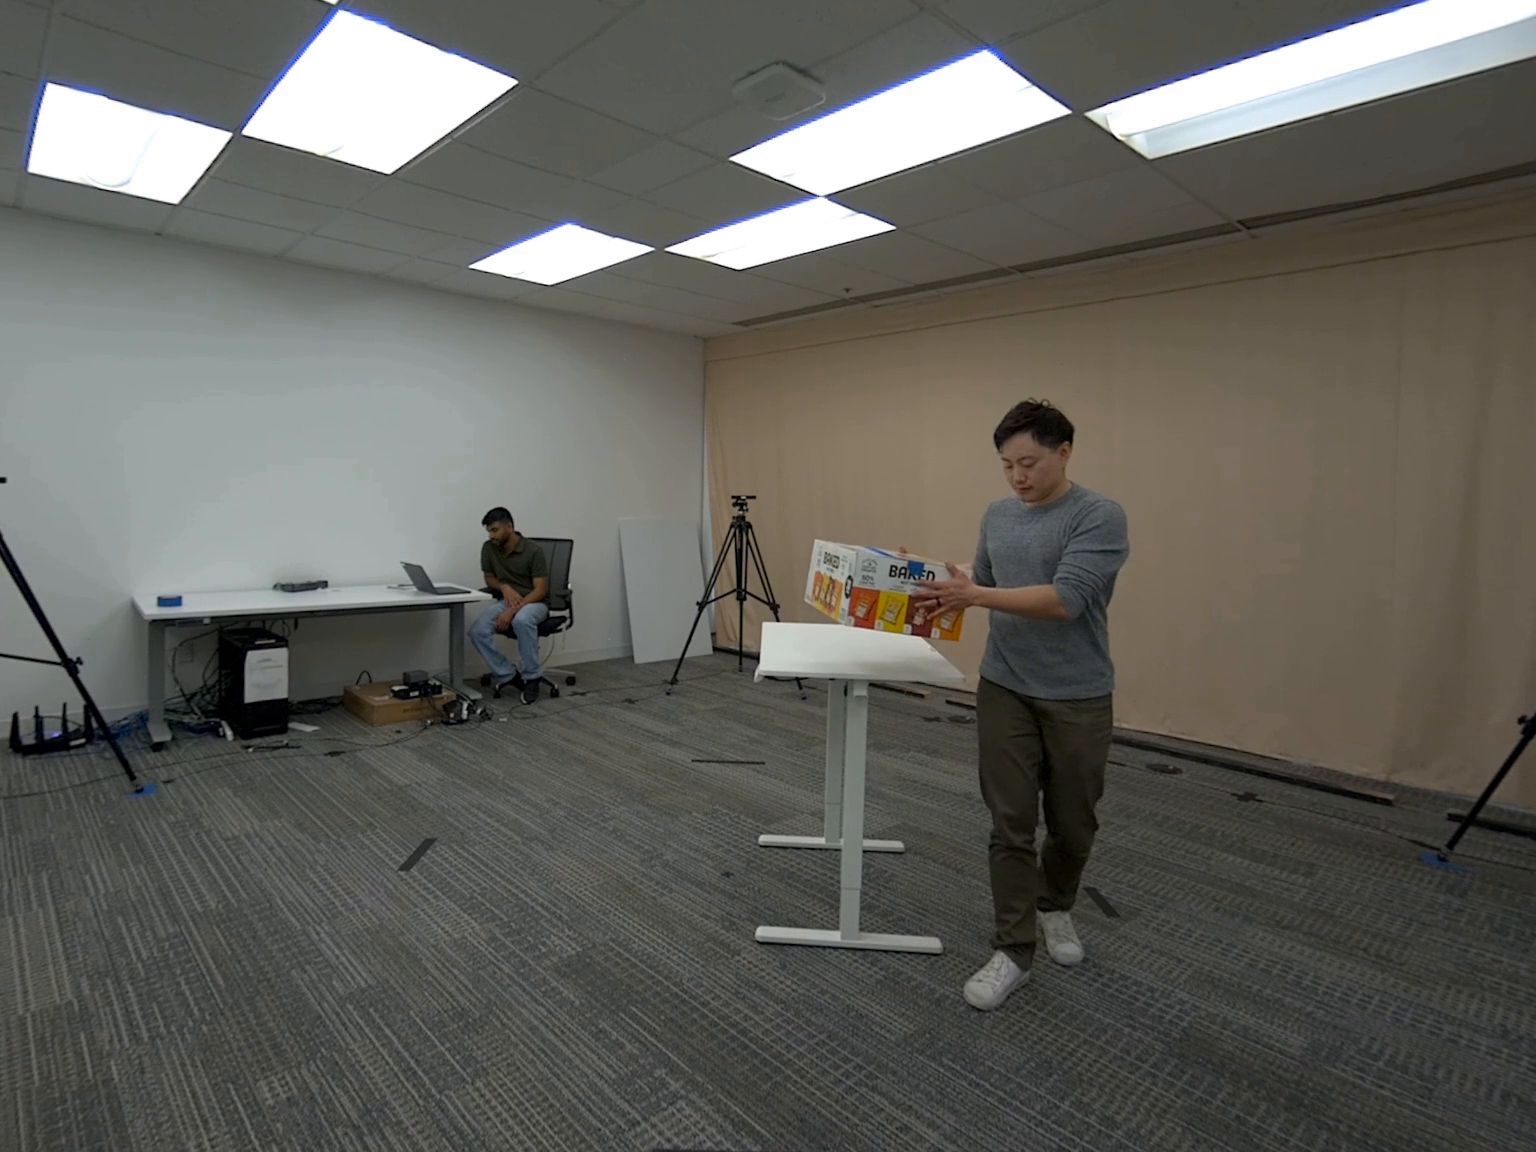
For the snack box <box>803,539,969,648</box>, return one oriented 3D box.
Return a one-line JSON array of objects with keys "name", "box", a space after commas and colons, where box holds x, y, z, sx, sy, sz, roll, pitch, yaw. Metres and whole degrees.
[{"name": "snack box", "box": [0.335, 0.038, 2.488, 0.337, 0.205, 0.410, 9, 6, -12]}]
